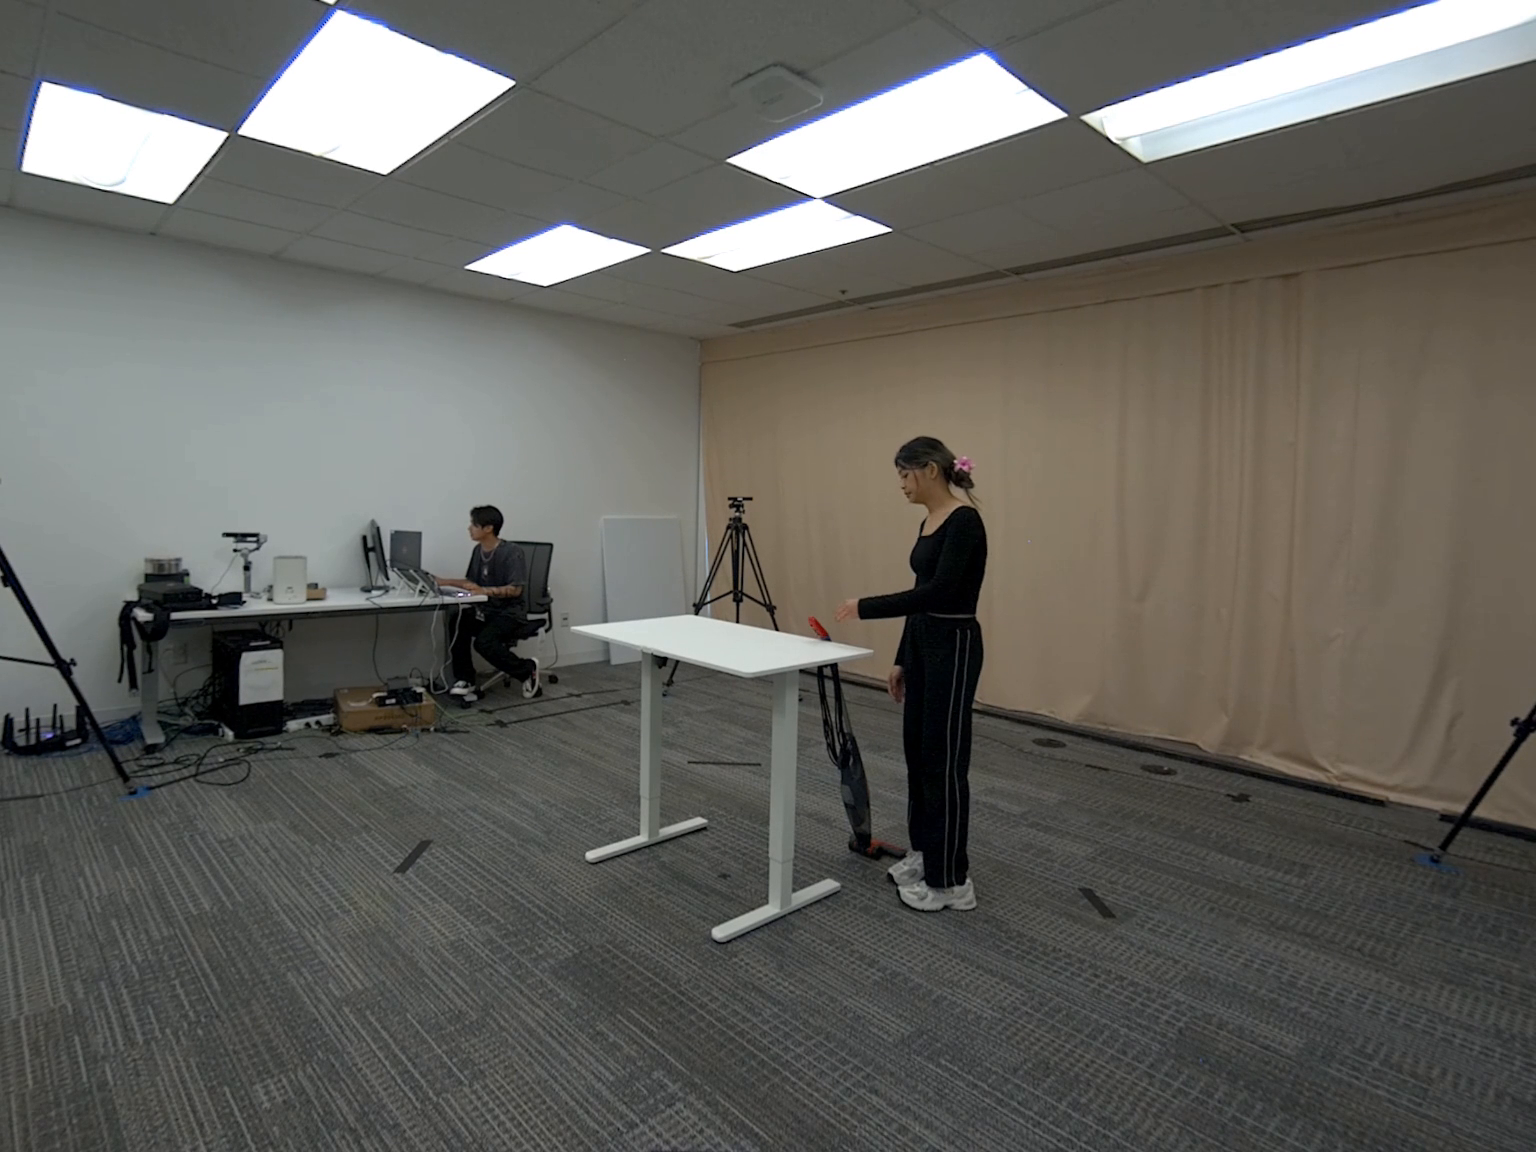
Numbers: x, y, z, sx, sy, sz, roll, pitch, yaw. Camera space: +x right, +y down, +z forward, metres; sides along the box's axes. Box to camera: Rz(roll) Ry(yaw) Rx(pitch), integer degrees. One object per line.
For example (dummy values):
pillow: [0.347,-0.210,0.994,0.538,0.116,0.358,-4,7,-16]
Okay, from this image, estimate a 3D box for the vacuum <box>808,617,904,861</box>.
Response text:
vacuum: [0.281,0.628,3.196,0.142,1.031,0.259,-27,23,-30]
